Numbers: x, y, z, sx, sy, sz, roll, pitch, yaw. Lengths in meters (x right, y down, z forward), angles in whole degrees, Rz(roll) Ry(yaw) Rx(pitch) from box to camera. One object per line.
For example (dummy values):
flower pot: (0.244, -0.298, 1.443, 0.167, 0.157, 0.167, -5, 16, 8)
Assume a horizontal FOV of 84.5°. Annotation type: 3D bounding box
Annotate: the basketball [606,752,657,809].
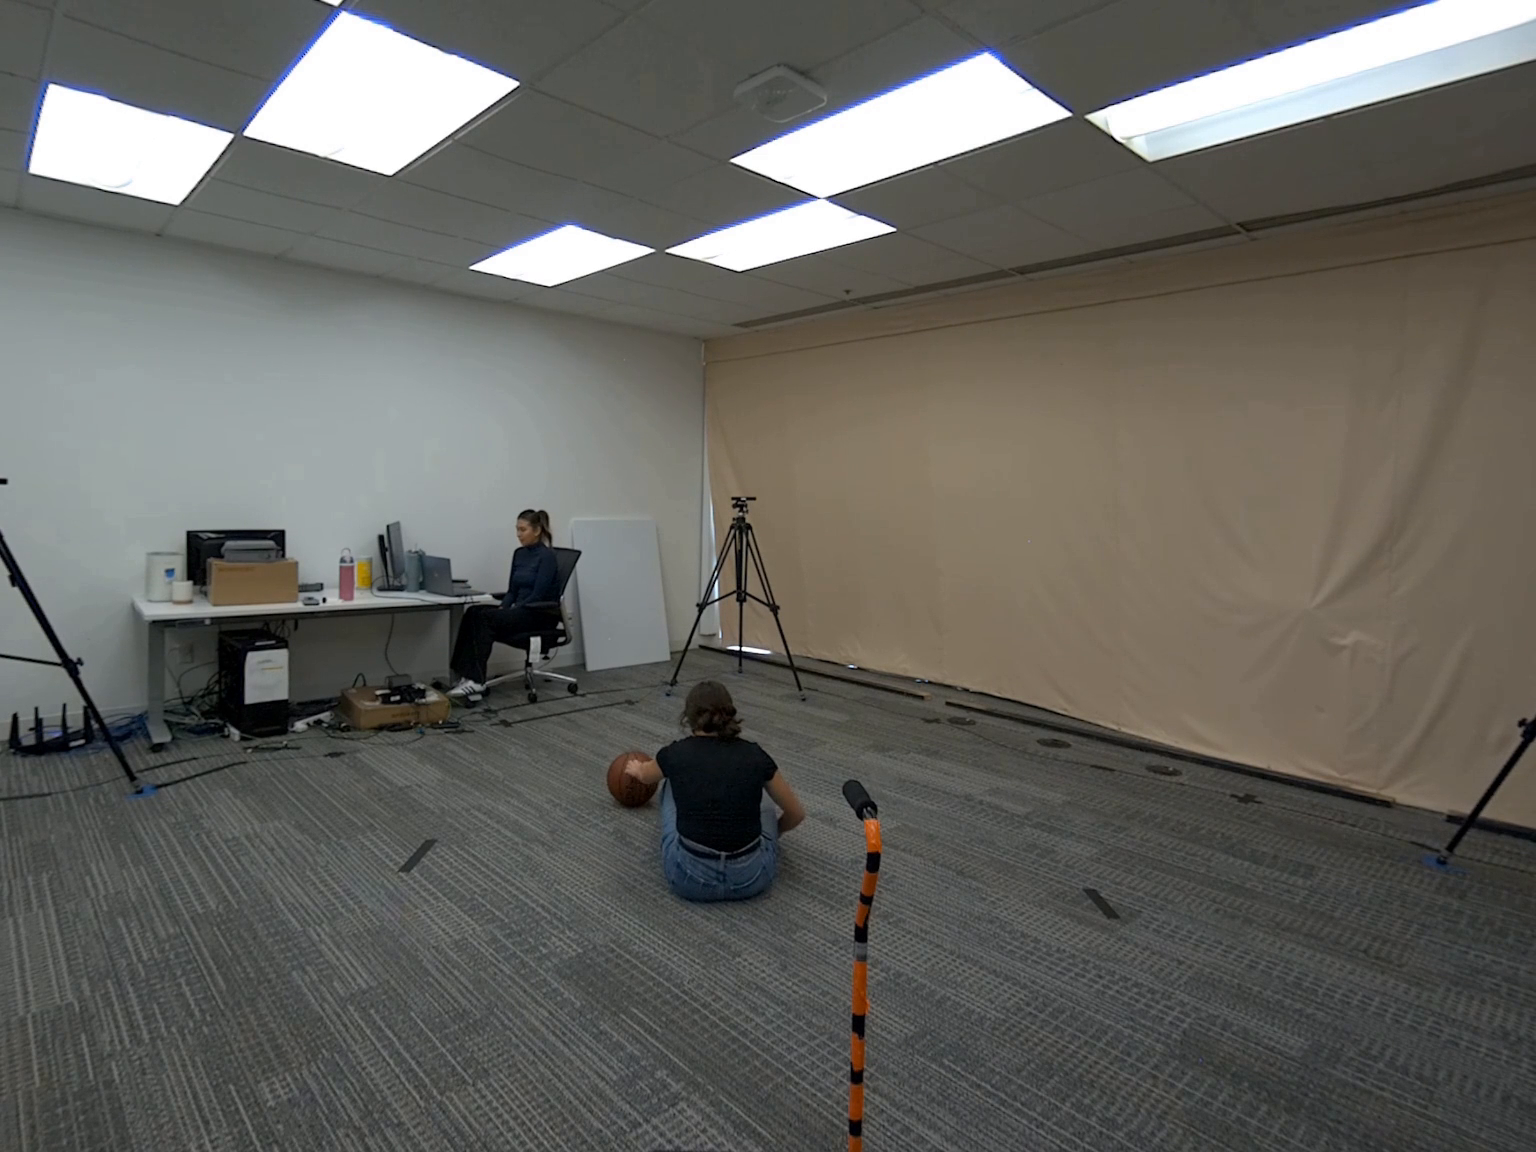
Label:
basketball: (-0.619, 0.909, 3.807, 0.236, 0.235, 0.237, 1, 4, -1)
